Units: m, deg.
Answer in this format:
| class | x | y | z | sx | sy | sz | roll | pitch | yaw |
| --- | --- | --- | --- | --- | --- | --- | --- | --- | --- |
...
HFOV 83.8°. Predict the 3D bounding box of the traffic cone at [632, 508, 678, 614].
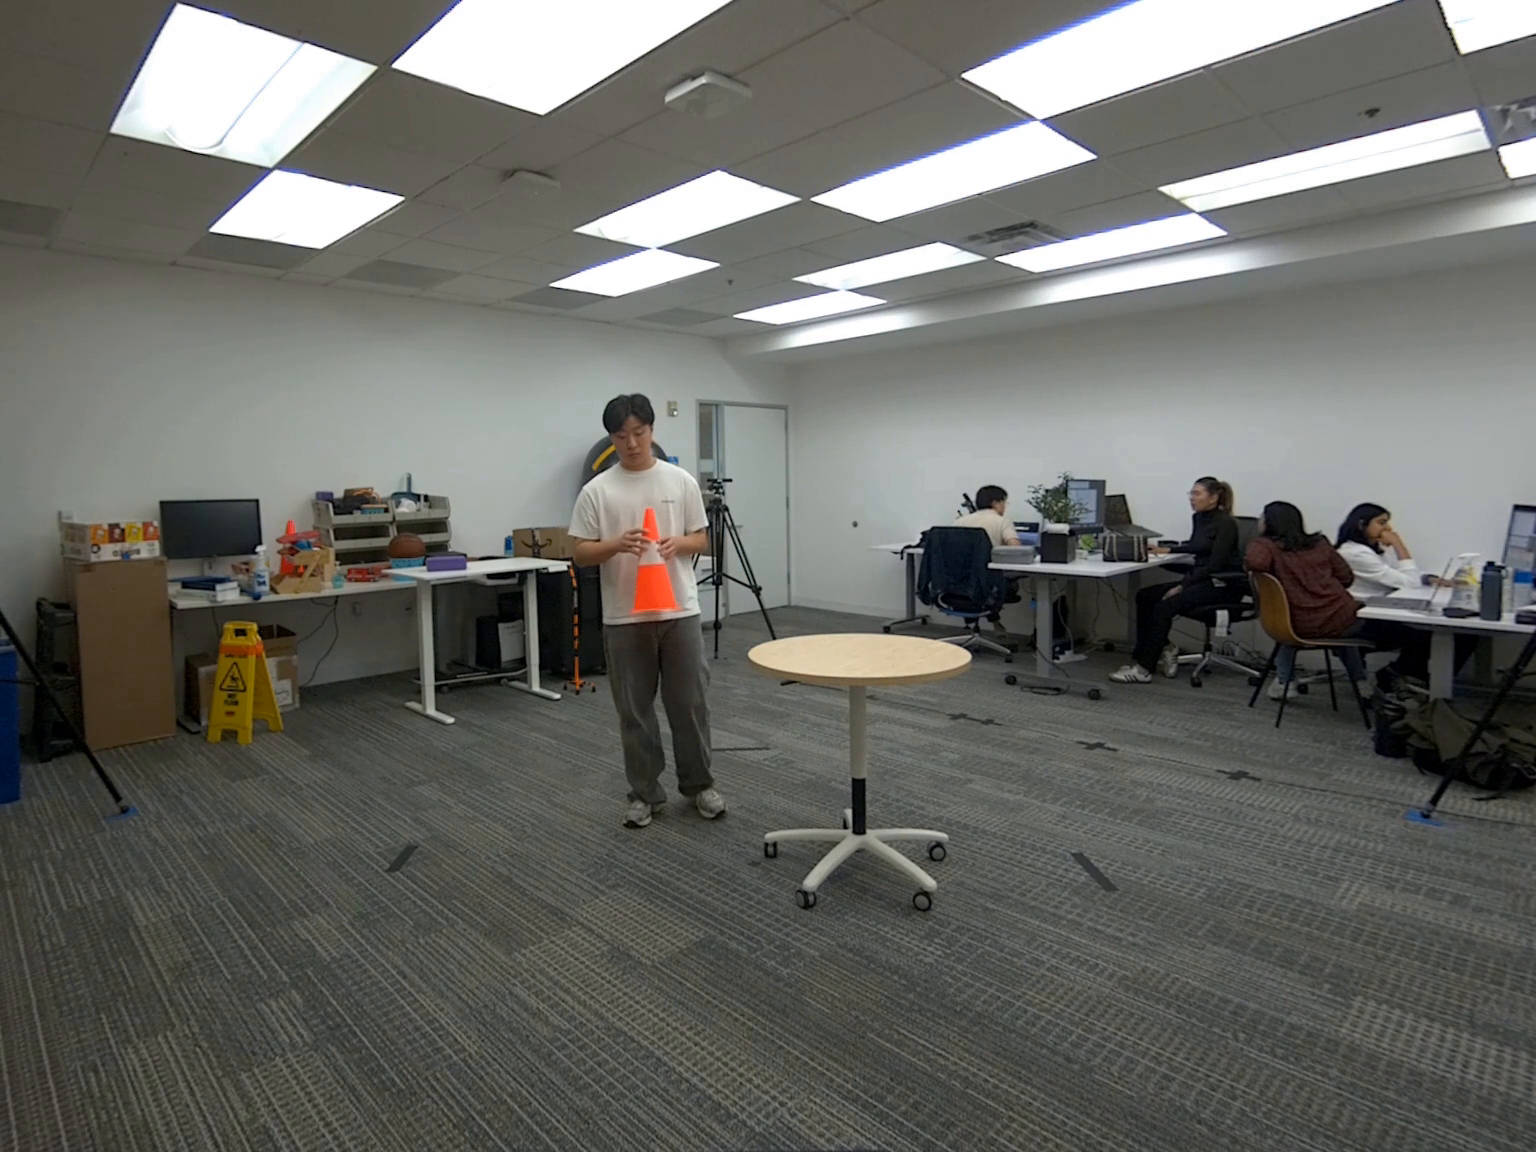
| class | x | y | z | sx | sy | sz | roll | pitch | yaw |
| --- | --- | --- | --- | --- | --- | --- | --- | --- | --- |
| traffic cone | -0.440 | -0.060 | 3.239 | 0.199 | 0.384 | 0.208 | -4 | -2 | -41 |
